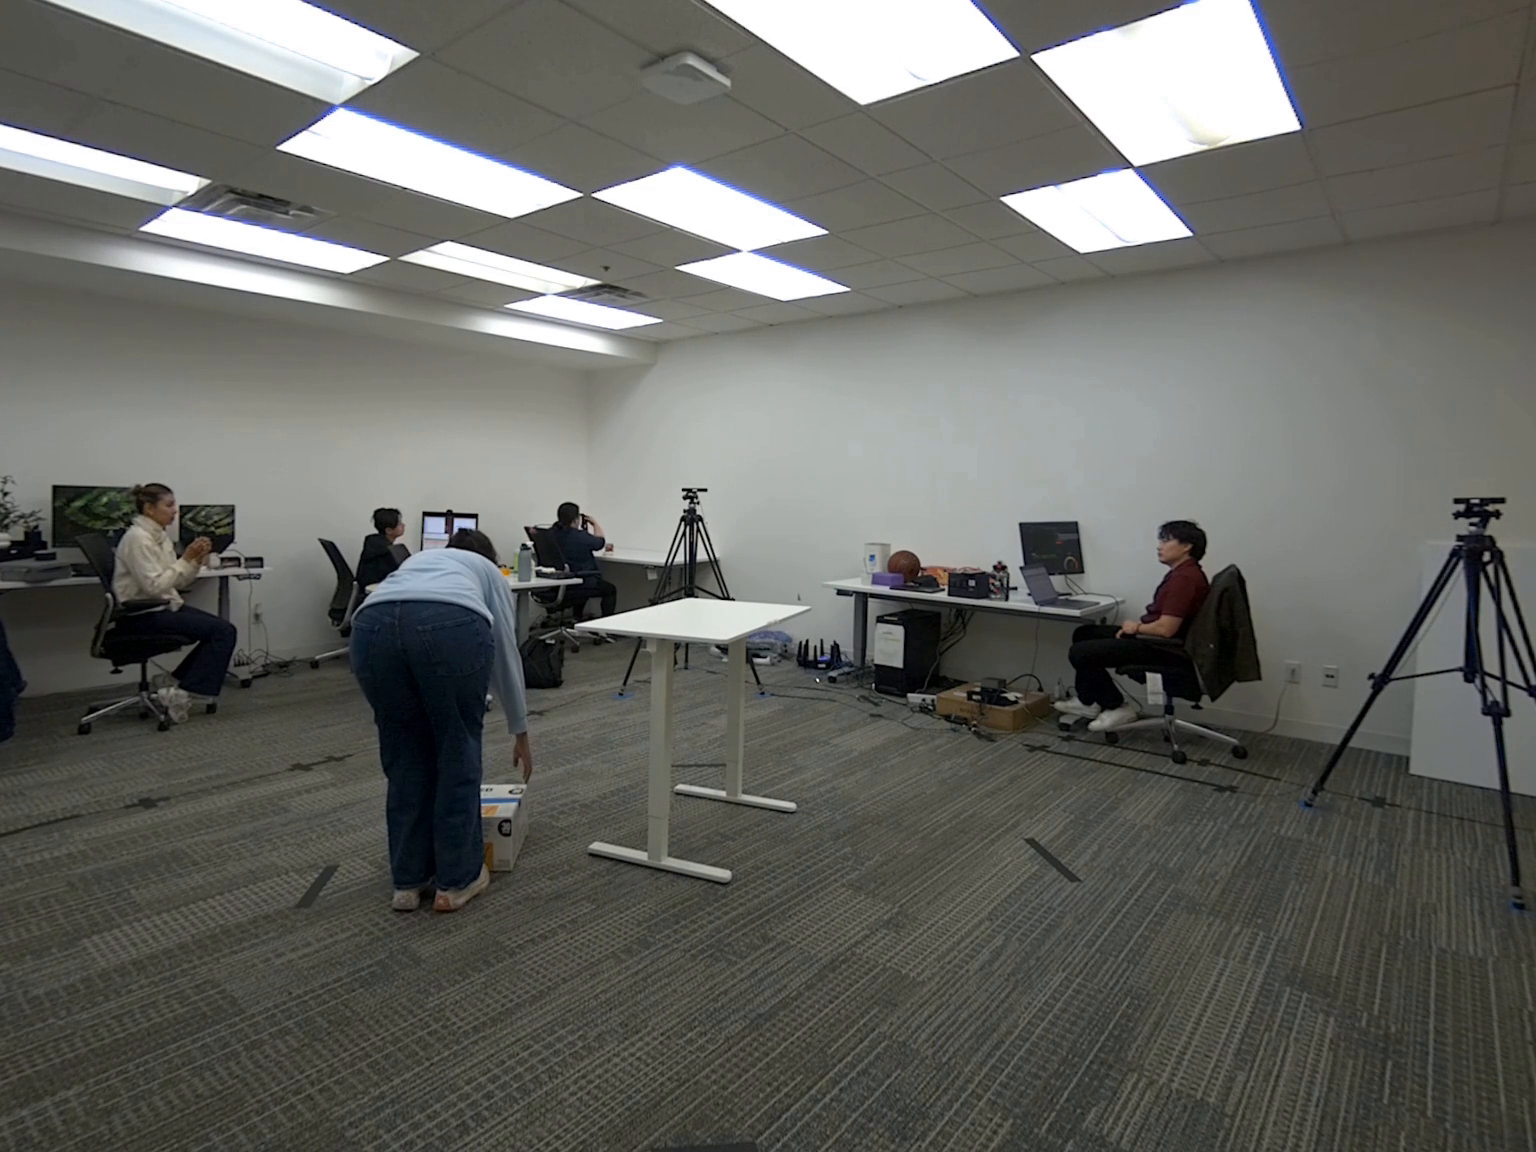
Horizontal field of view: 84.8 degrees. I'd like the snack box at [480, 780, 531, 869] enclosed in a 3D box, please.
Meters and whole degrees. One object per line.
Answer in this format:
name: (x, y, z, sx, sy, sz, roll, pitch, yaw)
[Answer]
snack box: (-1.141, 0.939, 3.202, 0.403, 0.205, 0.343, 0, 5, -5)
